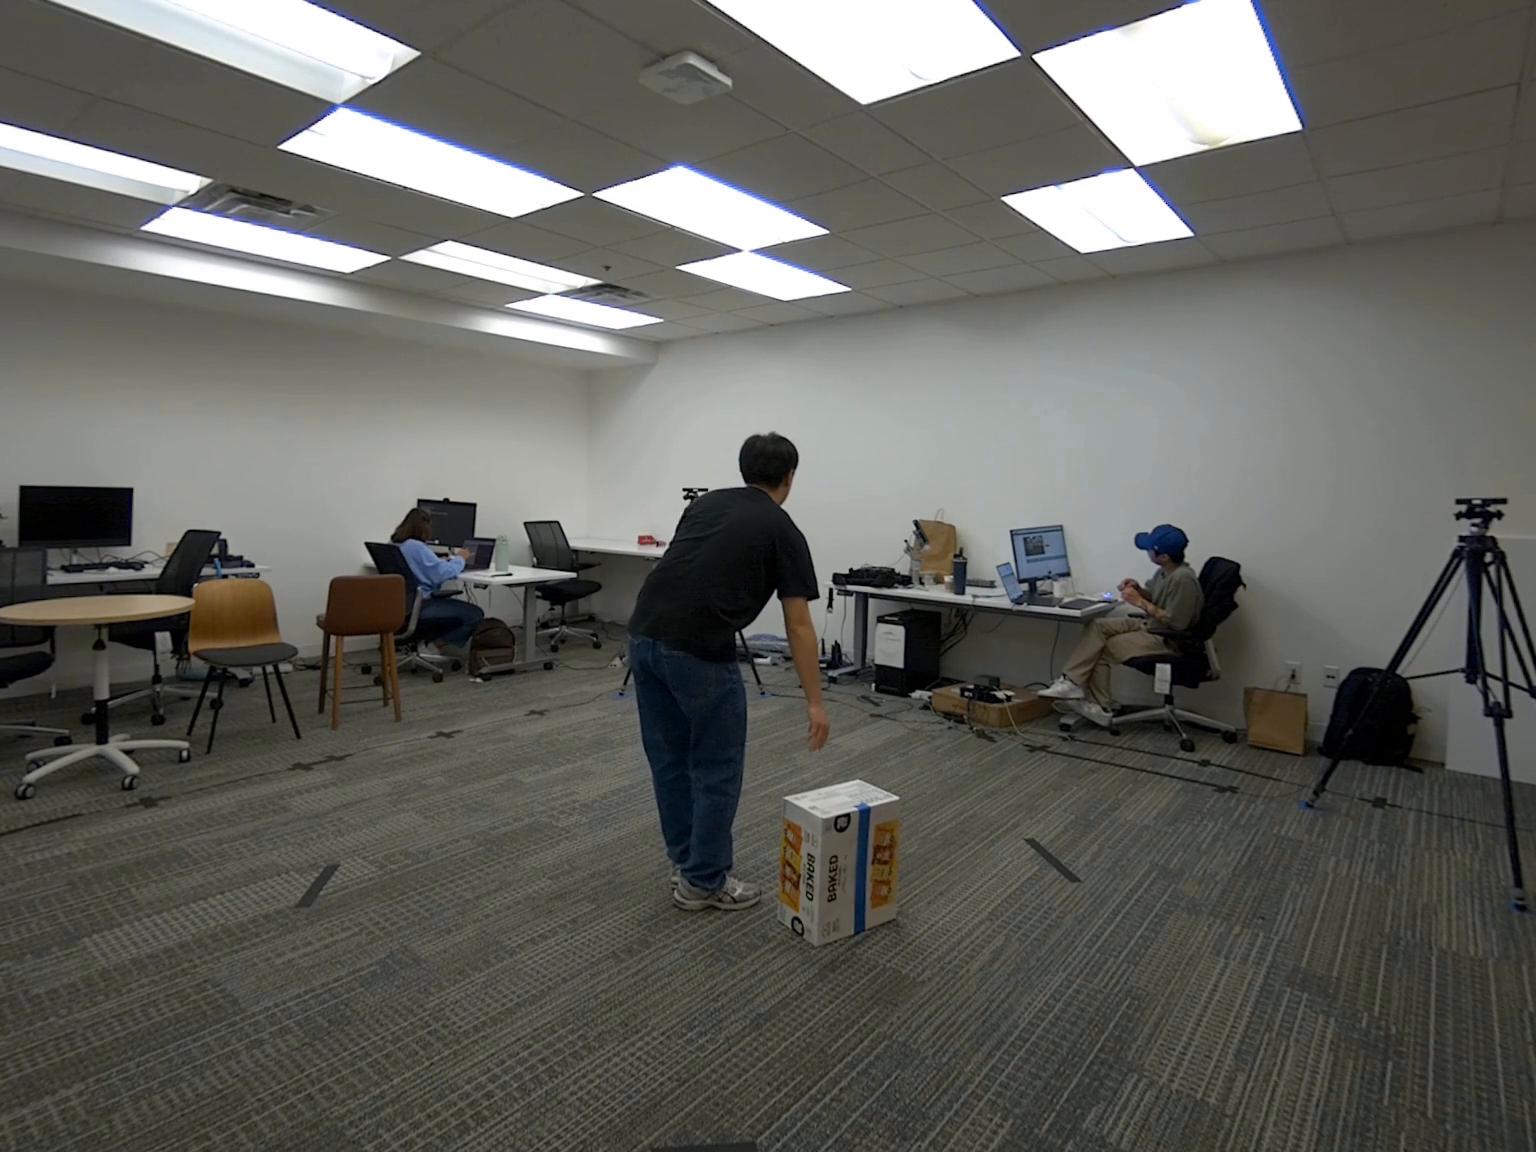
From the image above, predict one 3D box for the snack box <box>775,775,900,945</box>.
[{"bbox_3d":[0.225,0.908,2.745,0.330,0.404,0.212,-2,4,-36],"label":"snack box"}]
